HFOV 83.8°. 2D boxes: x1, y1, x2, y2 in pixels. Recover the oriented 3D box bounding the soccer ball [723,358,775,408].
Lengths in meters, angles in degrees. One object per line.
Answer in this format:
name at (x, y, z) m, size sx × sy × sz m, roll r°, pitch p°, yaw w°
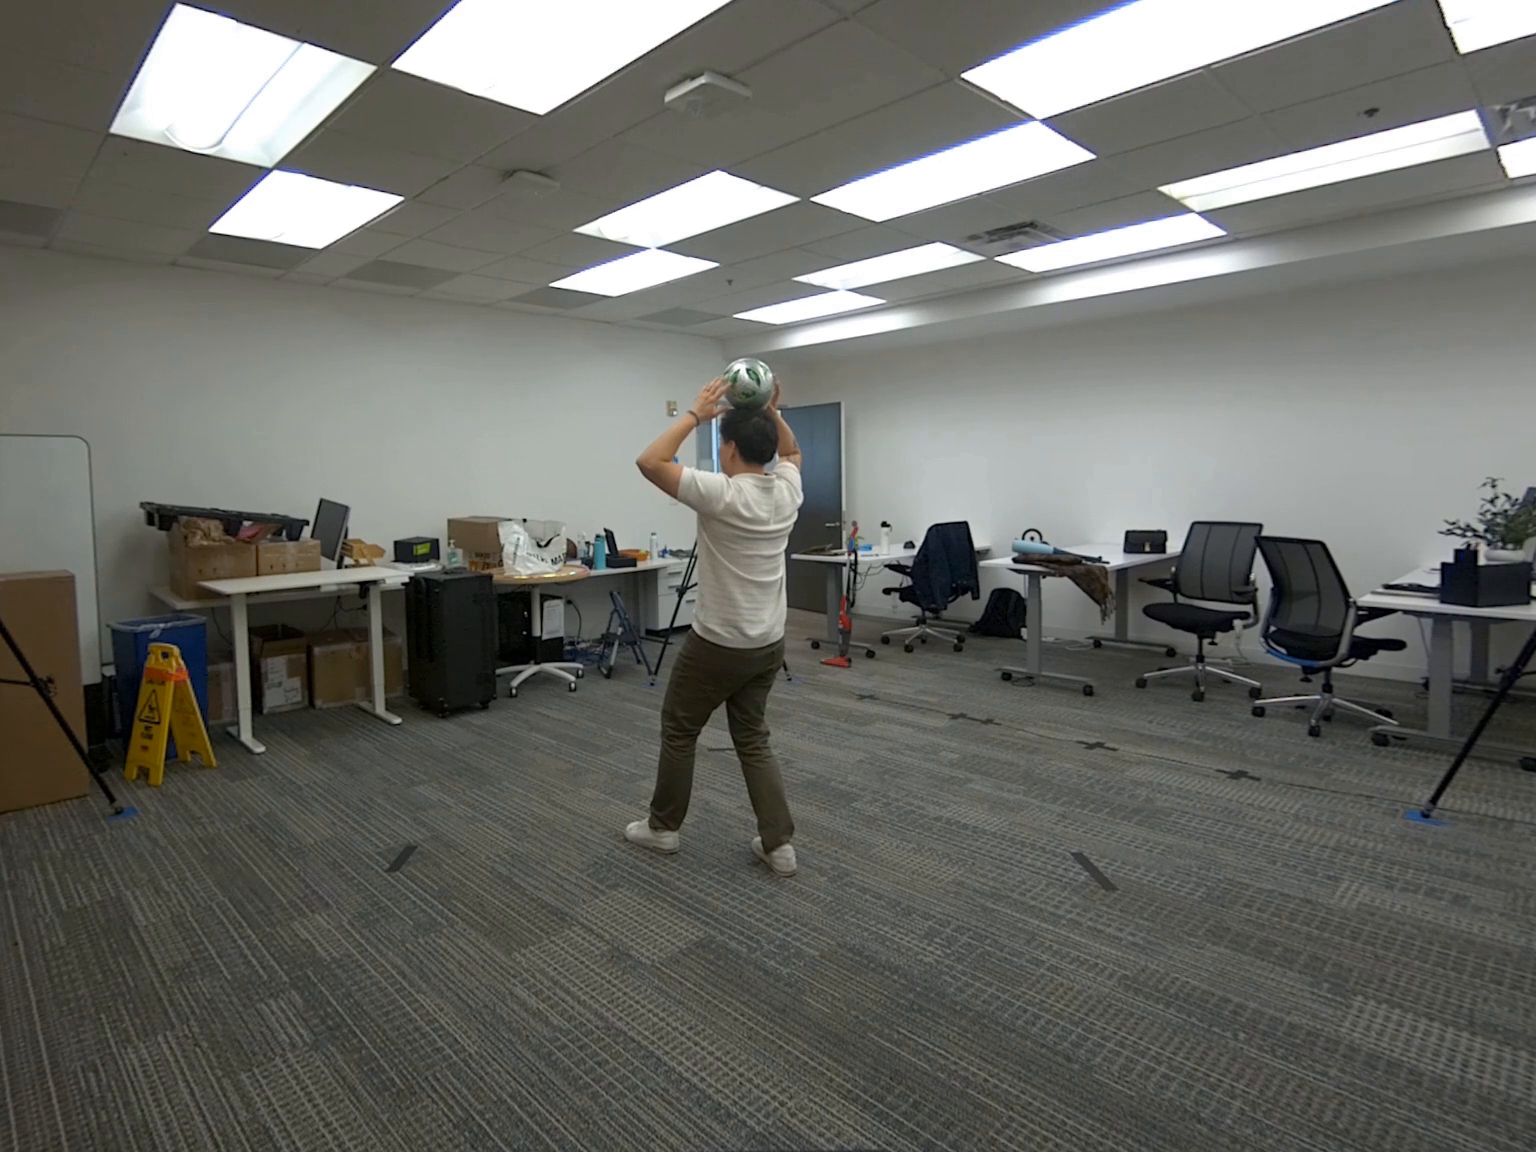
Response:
soccer ball at (-0.069, -0.669, 3.014) m, size 0.187 × 0.187 × 0.188 m, roll -1°, pitch 5°, yaw -2°
